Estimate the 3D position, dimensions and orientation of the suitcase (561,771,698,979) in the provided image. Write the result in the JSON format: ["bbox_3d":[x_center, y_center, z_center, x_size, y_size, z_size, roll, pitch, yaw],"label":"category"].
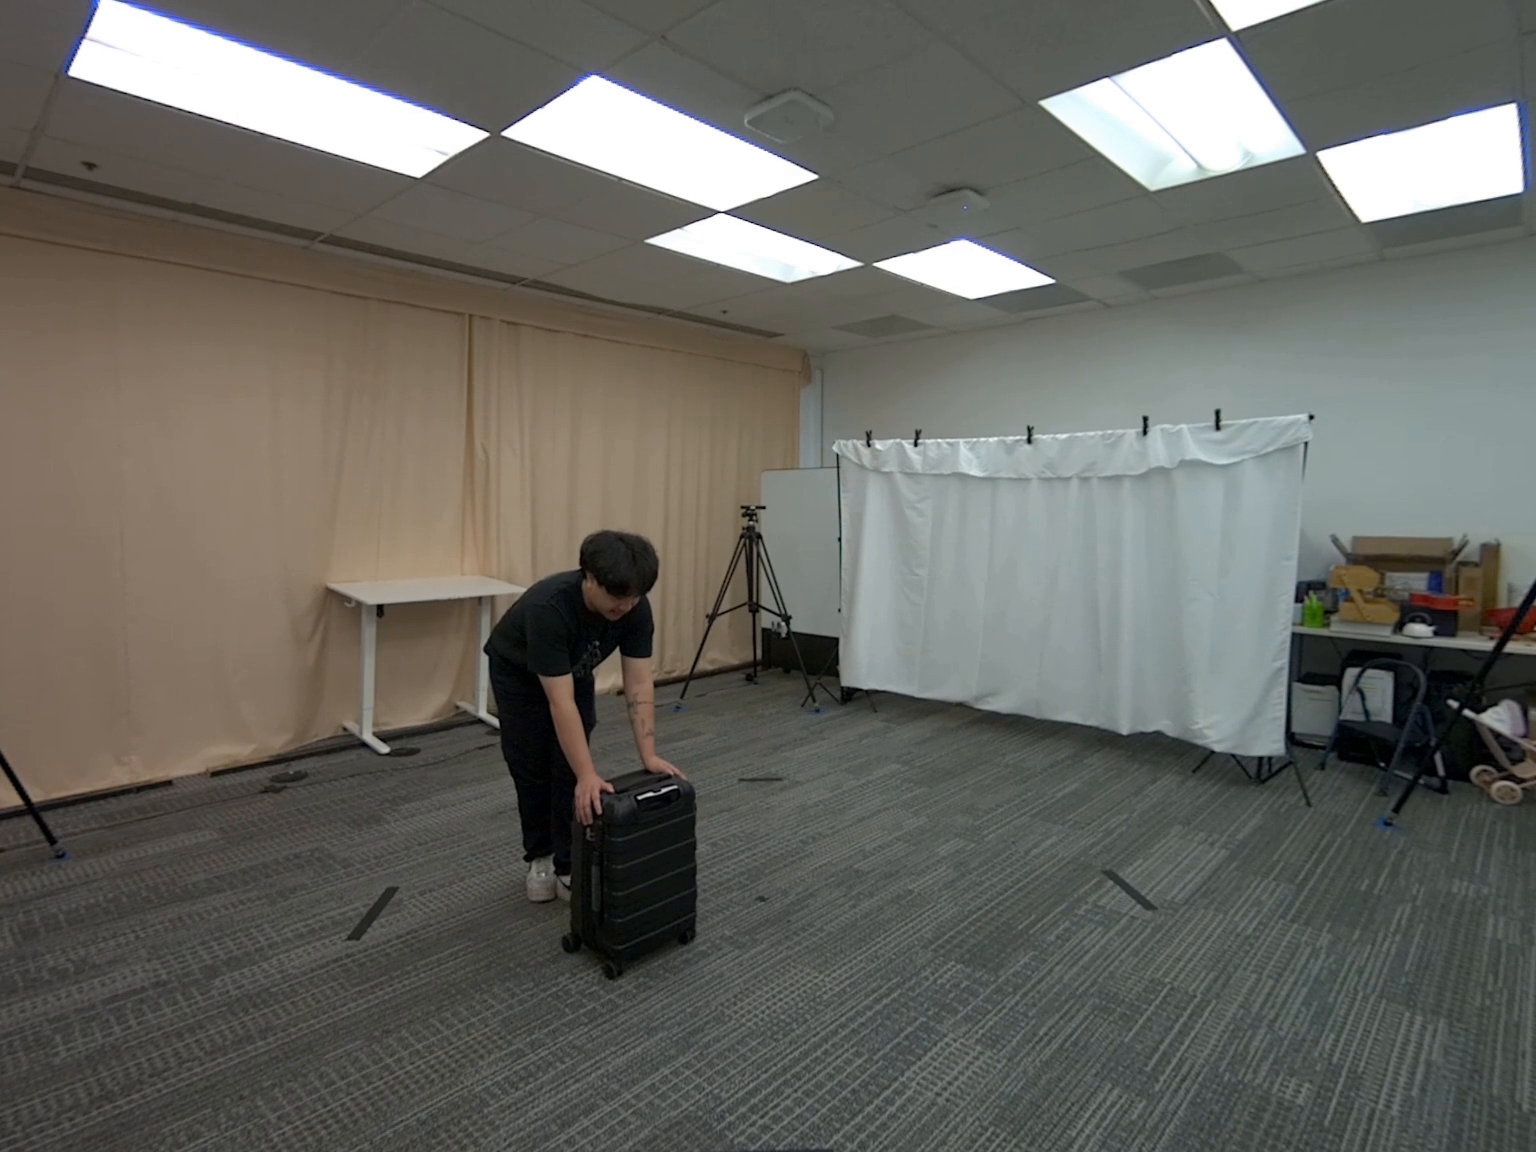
[{"bbox_3d":[-0.418,0.903,2.636,0.257,0.548,0.364,6,6,43],"label":"suitcase"}]
